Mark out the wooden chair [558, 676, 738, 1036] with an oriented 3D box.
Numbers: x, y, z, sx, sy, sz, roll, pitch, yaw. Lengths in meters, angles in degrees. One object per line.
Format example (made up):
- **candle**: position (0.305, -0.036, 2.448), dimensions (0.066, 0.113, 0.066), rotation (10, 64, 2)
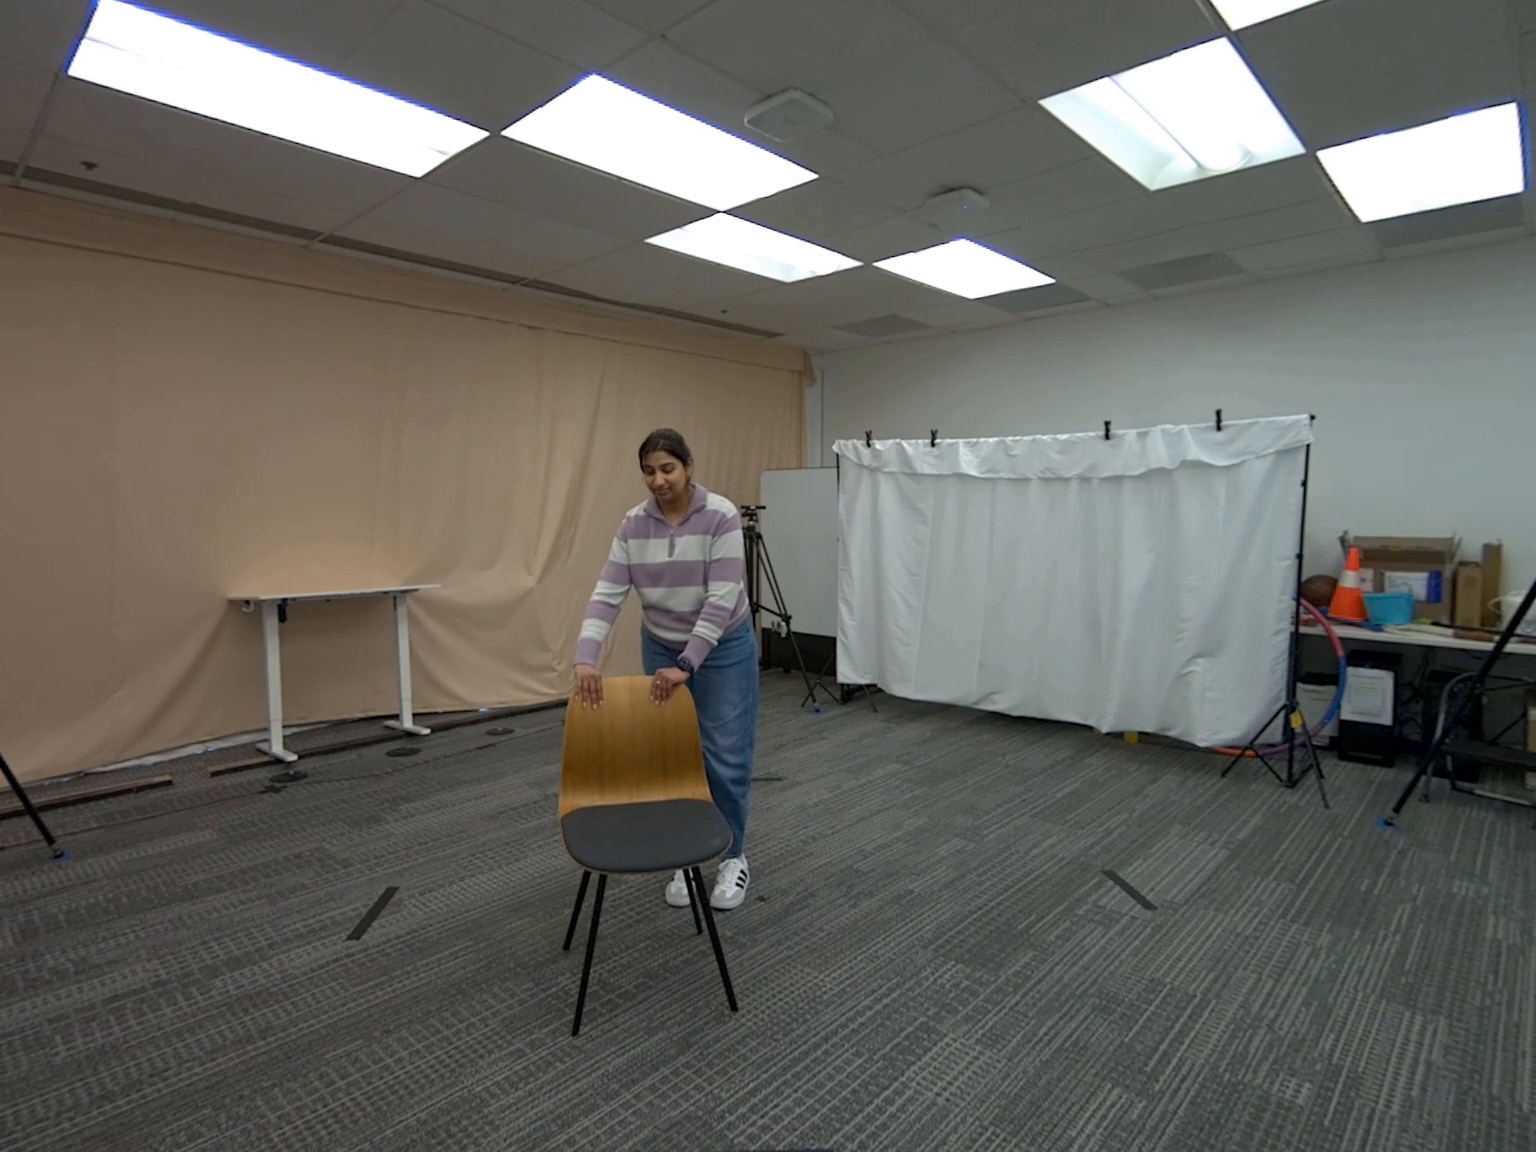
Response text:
- **wooden chair**: position (-0.356, 0.757, 2.446), dimensions (0.470, 0.878, 0.531), rotation (-1, -1, -16)
